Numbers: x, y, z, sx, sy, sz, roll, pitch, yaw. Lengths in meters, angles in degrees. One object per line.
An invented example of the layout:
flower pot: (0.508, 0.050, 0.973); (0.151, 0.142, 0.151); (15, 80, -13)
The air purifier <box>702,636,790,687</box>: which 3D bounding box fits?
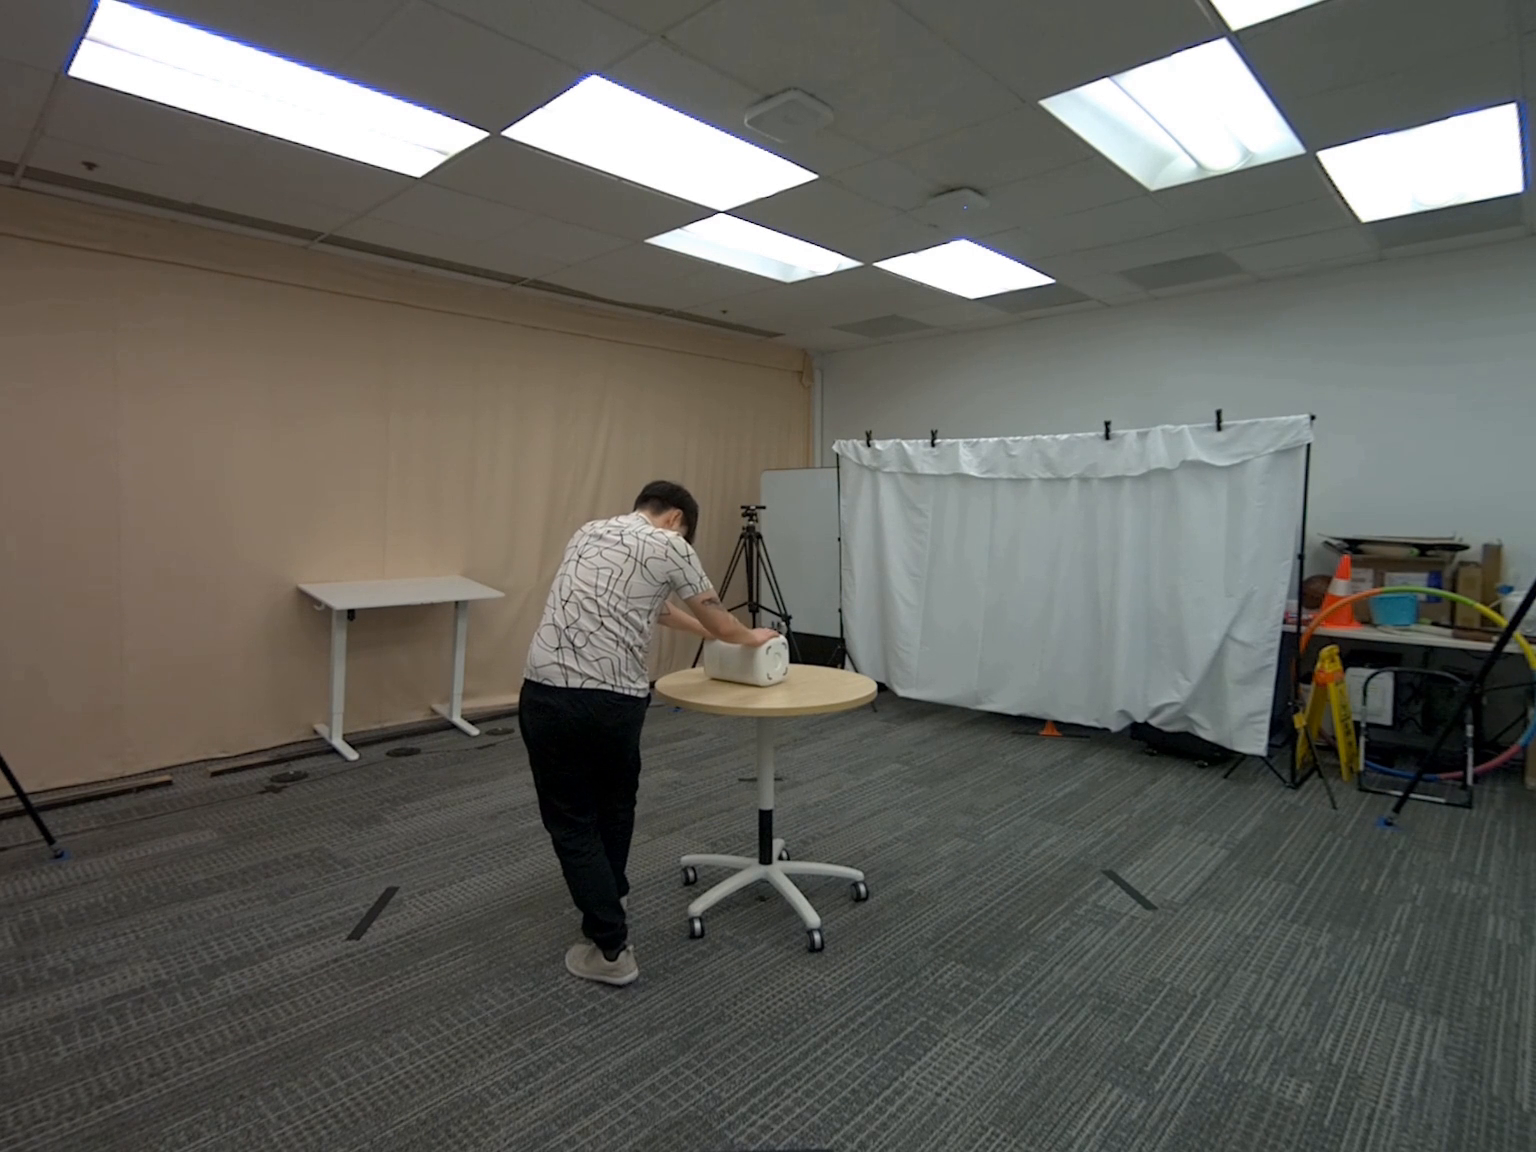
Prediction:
air purifier: (-0.068, 0.284, 2.953); (0.274, 0.171, 0.166); (2, 6, 39)
